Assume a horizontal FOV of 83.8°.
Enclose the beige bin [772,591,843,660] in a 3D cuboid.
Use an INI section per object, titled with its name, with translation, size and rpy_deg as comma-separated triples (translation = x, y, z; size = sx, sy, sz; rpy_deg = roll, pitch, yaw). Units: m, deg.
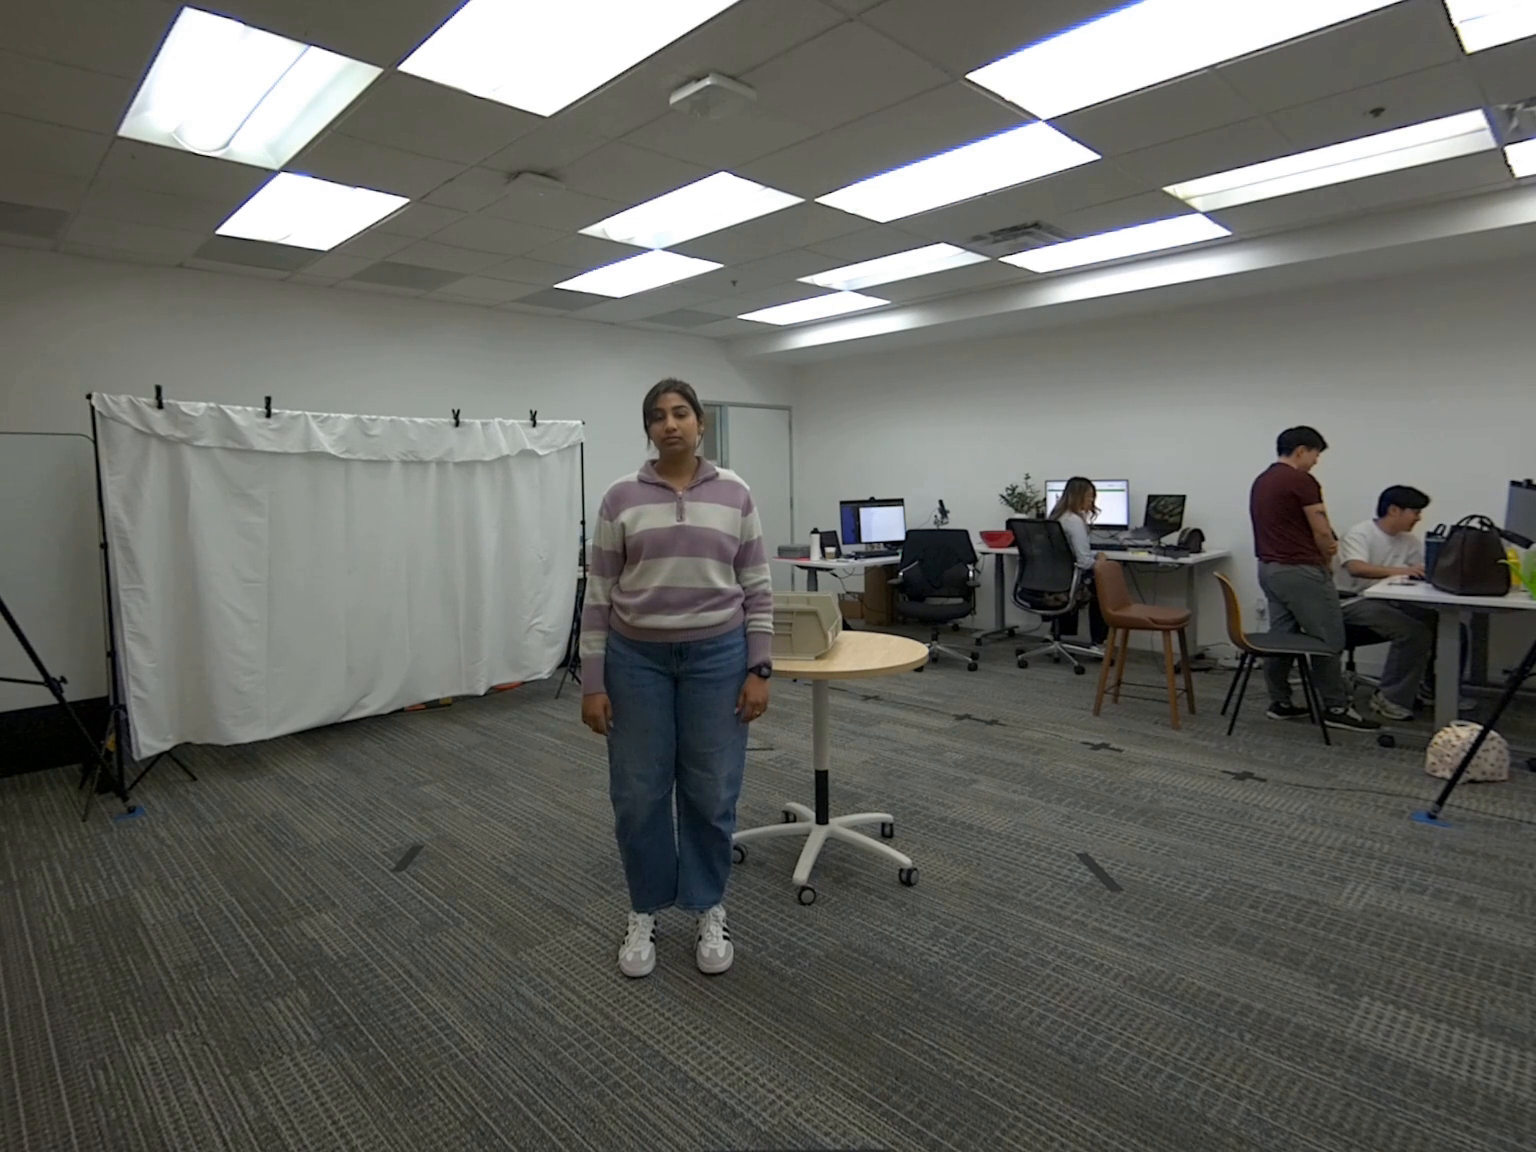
[beige bin]
translation = 0.062, 0.172, 3.099
size = 0.382, 0.188, 0.419
rpy_deg = -1, 5, 12
